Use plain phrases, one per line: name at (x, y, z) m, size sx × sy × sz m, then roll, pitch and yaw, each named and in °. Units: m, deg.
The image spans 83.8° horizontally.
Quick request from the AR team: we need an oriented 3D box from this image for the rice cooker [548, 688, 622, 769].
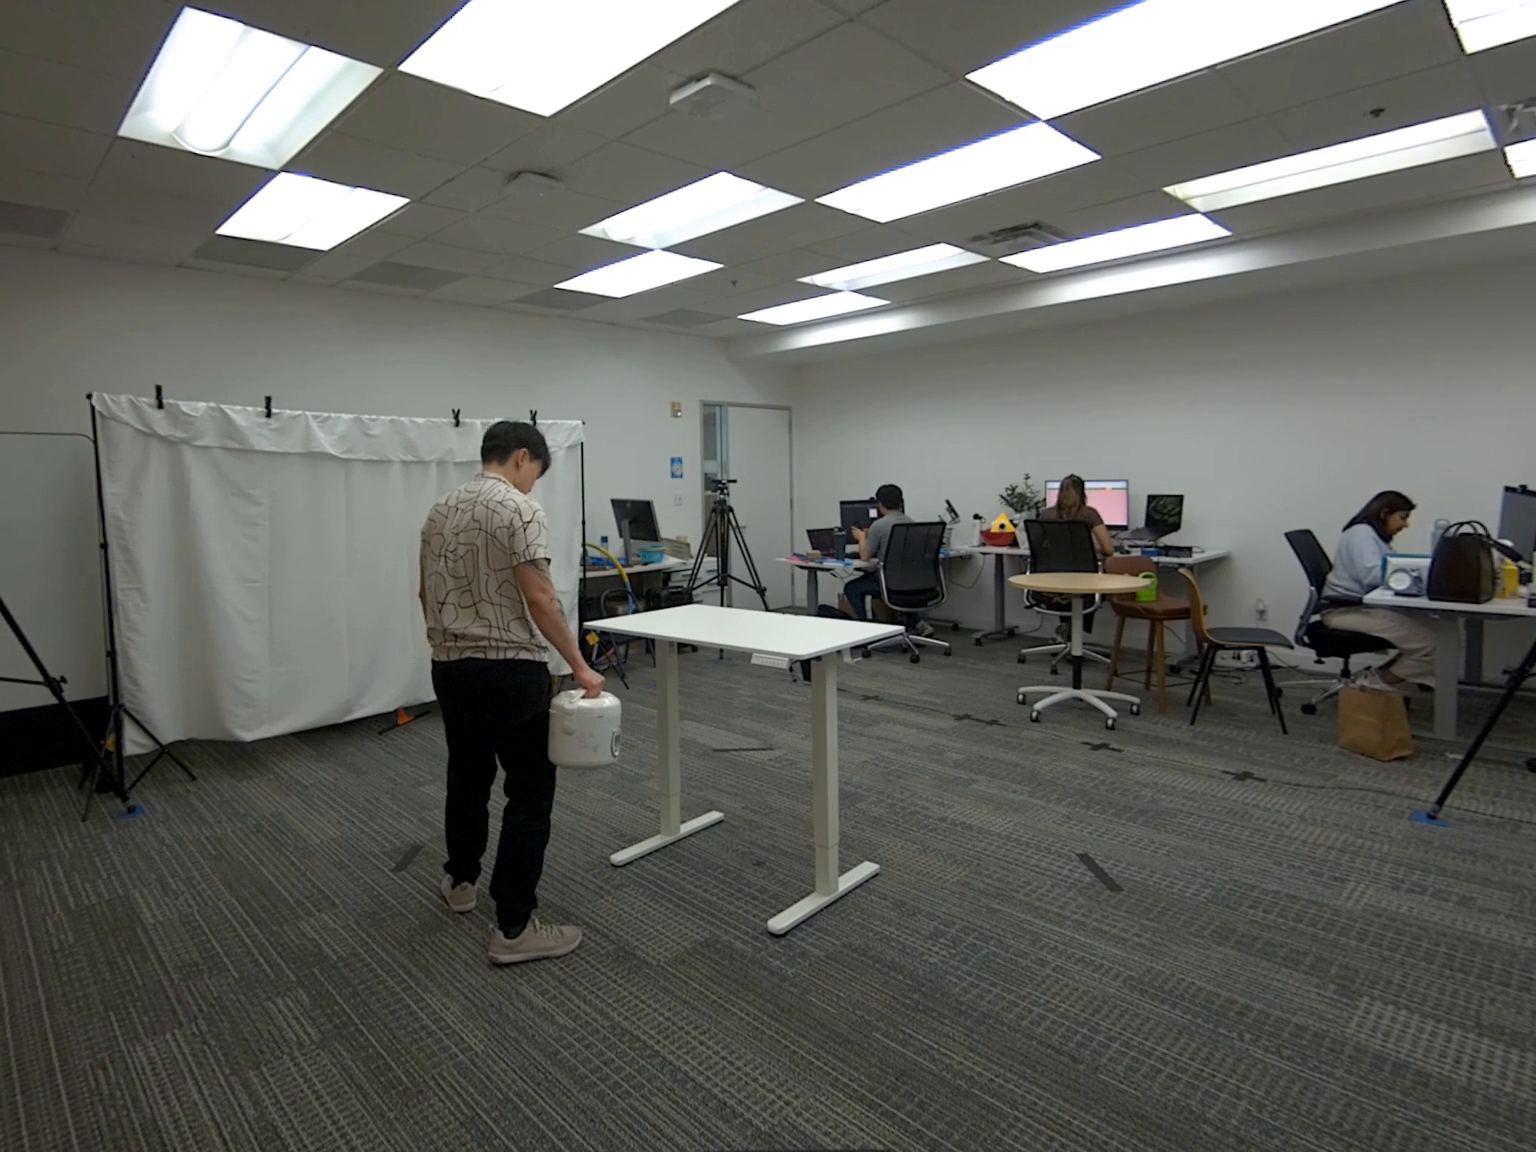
rice cooker at (-0.540, 0.441, 2.543) m, size 0.221 × 0.233 × 0.216 m, roll 2°, pitch -1°, yaw 17°
